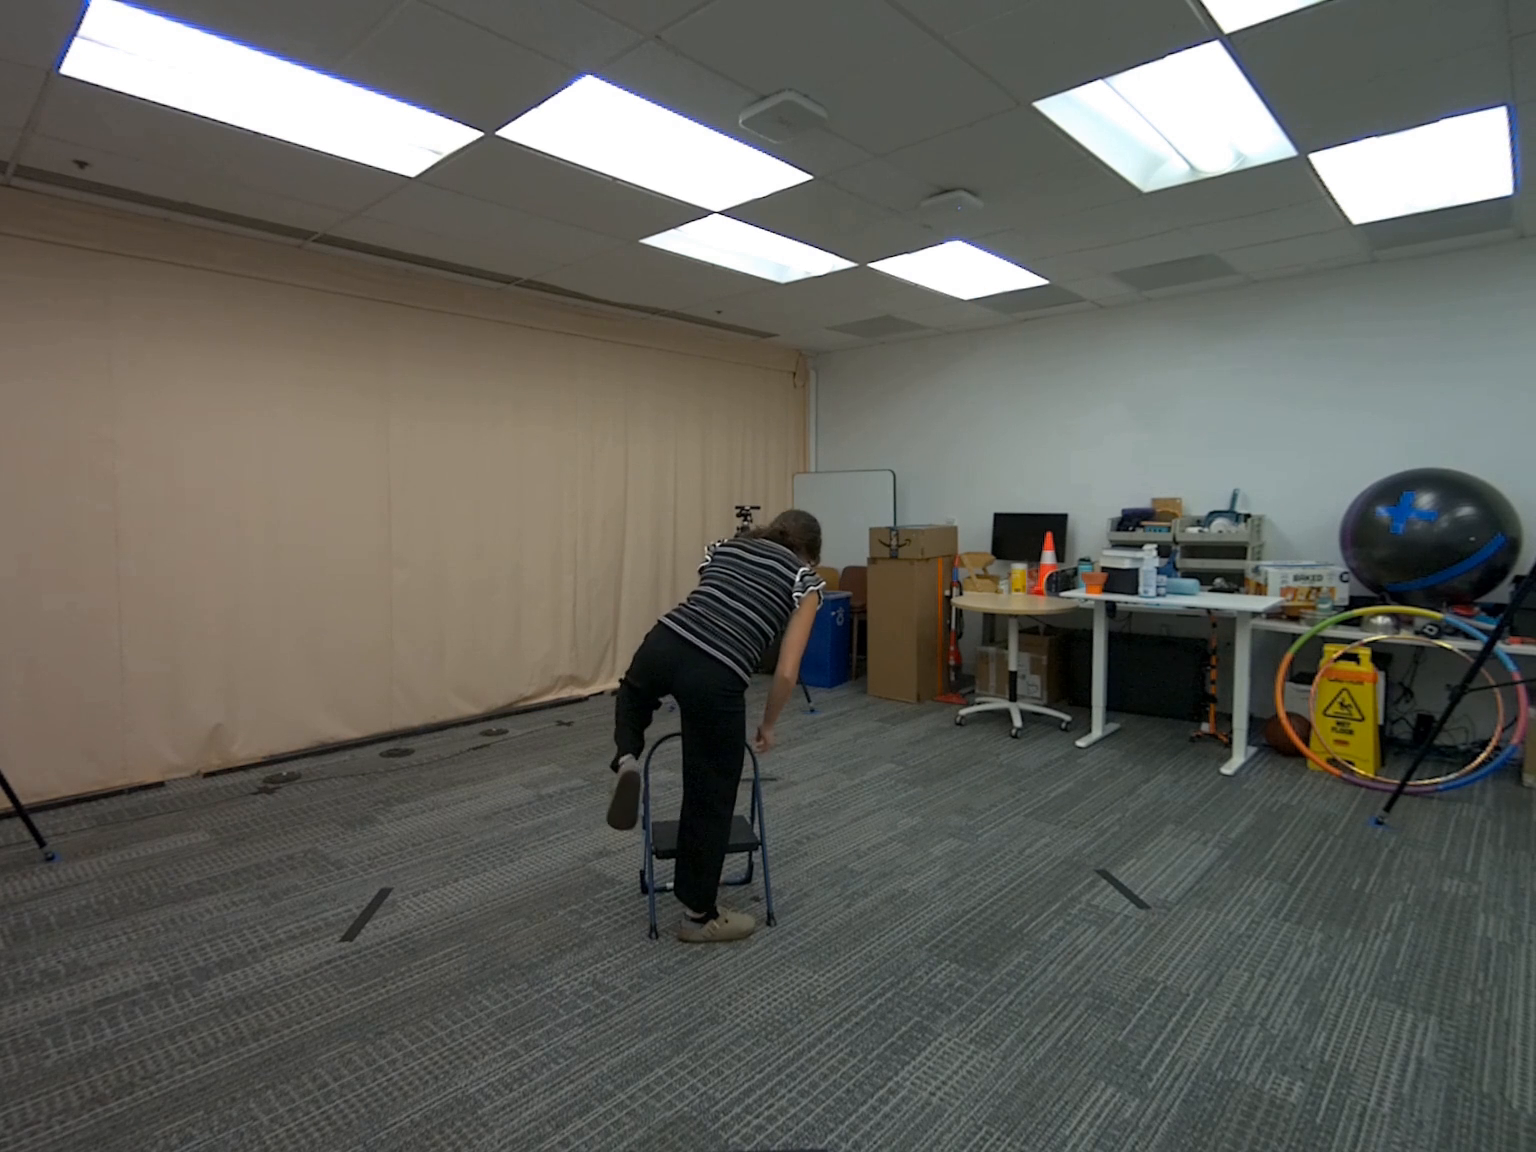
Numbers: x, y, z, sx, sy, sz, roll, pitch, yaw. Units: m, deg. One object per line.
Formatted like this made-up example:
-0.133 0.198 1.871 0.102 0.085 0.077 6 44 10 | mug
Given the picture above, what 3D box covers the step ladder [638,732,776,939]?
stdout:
-0.217 0.850 2.908 0.425 0.605 0.355 -1 4 -13 | step ladder
